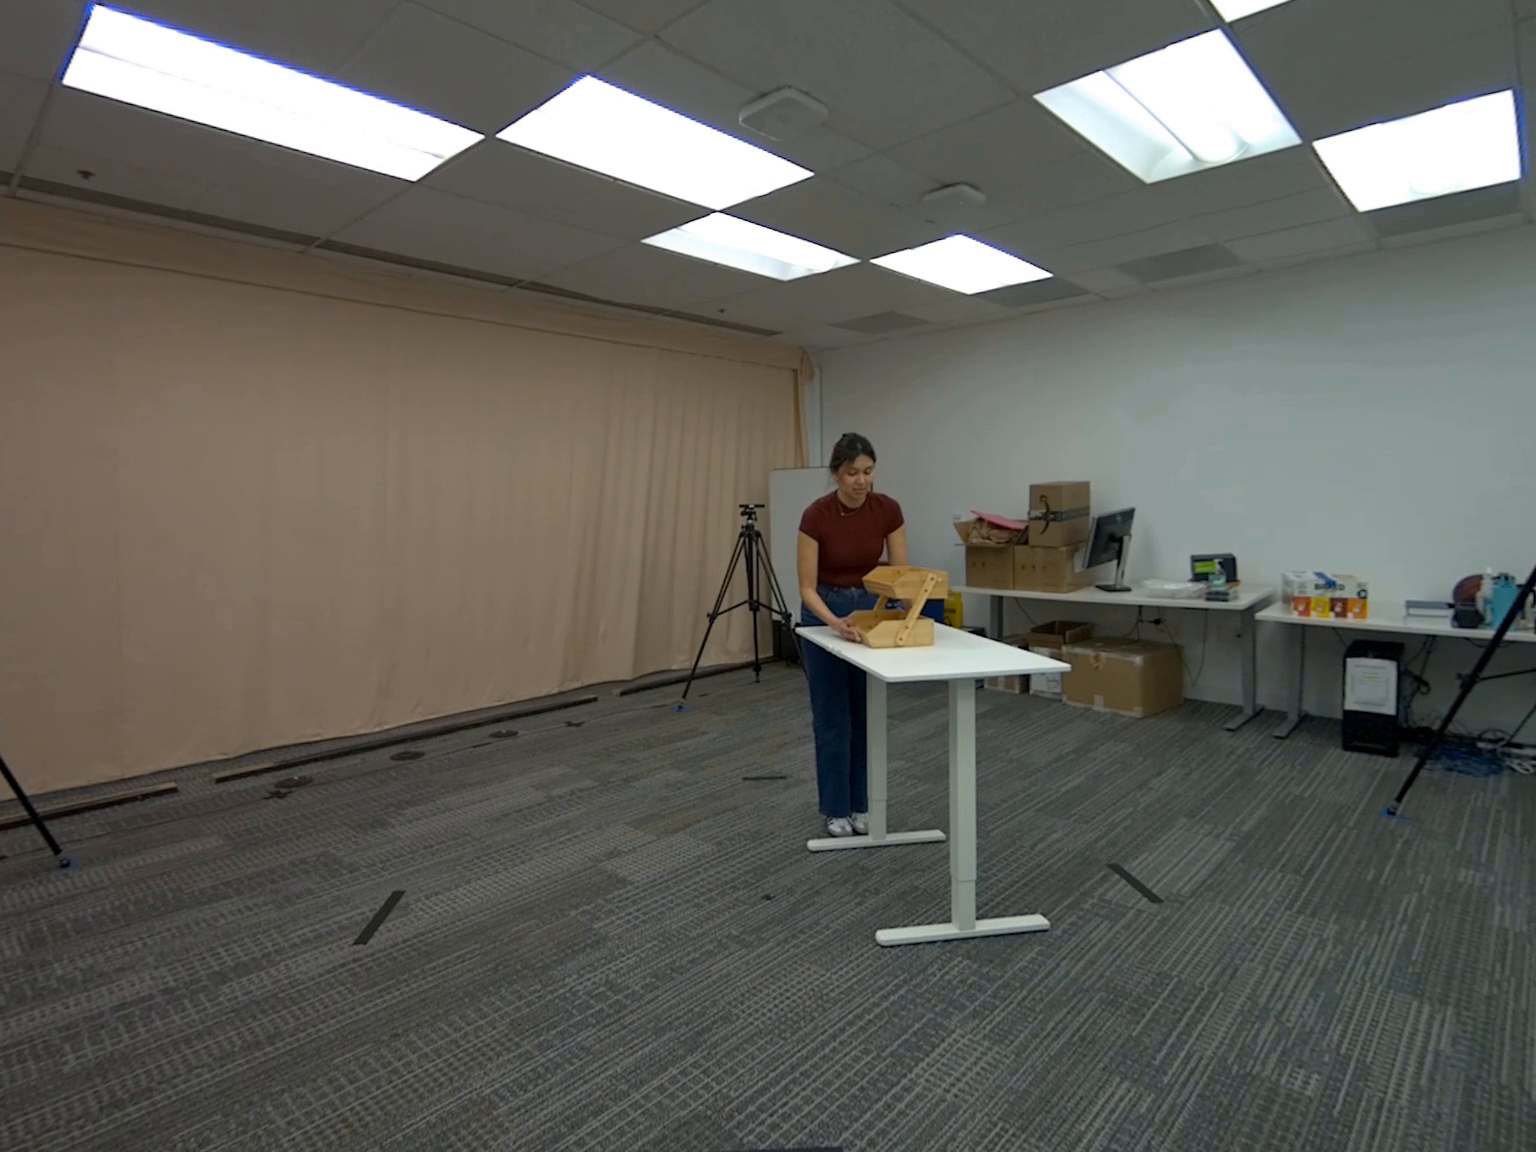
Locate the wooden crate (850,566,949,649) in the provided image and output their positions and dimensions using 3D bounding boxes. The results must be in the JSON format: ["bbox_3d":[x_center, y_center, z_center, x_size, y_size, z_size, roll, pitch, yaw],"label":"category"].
[{"bbox_3d":[0.444,0.101,3.113,0.298,0.273,0.329,-1,4,-13],"label":"wooden crate"}]
